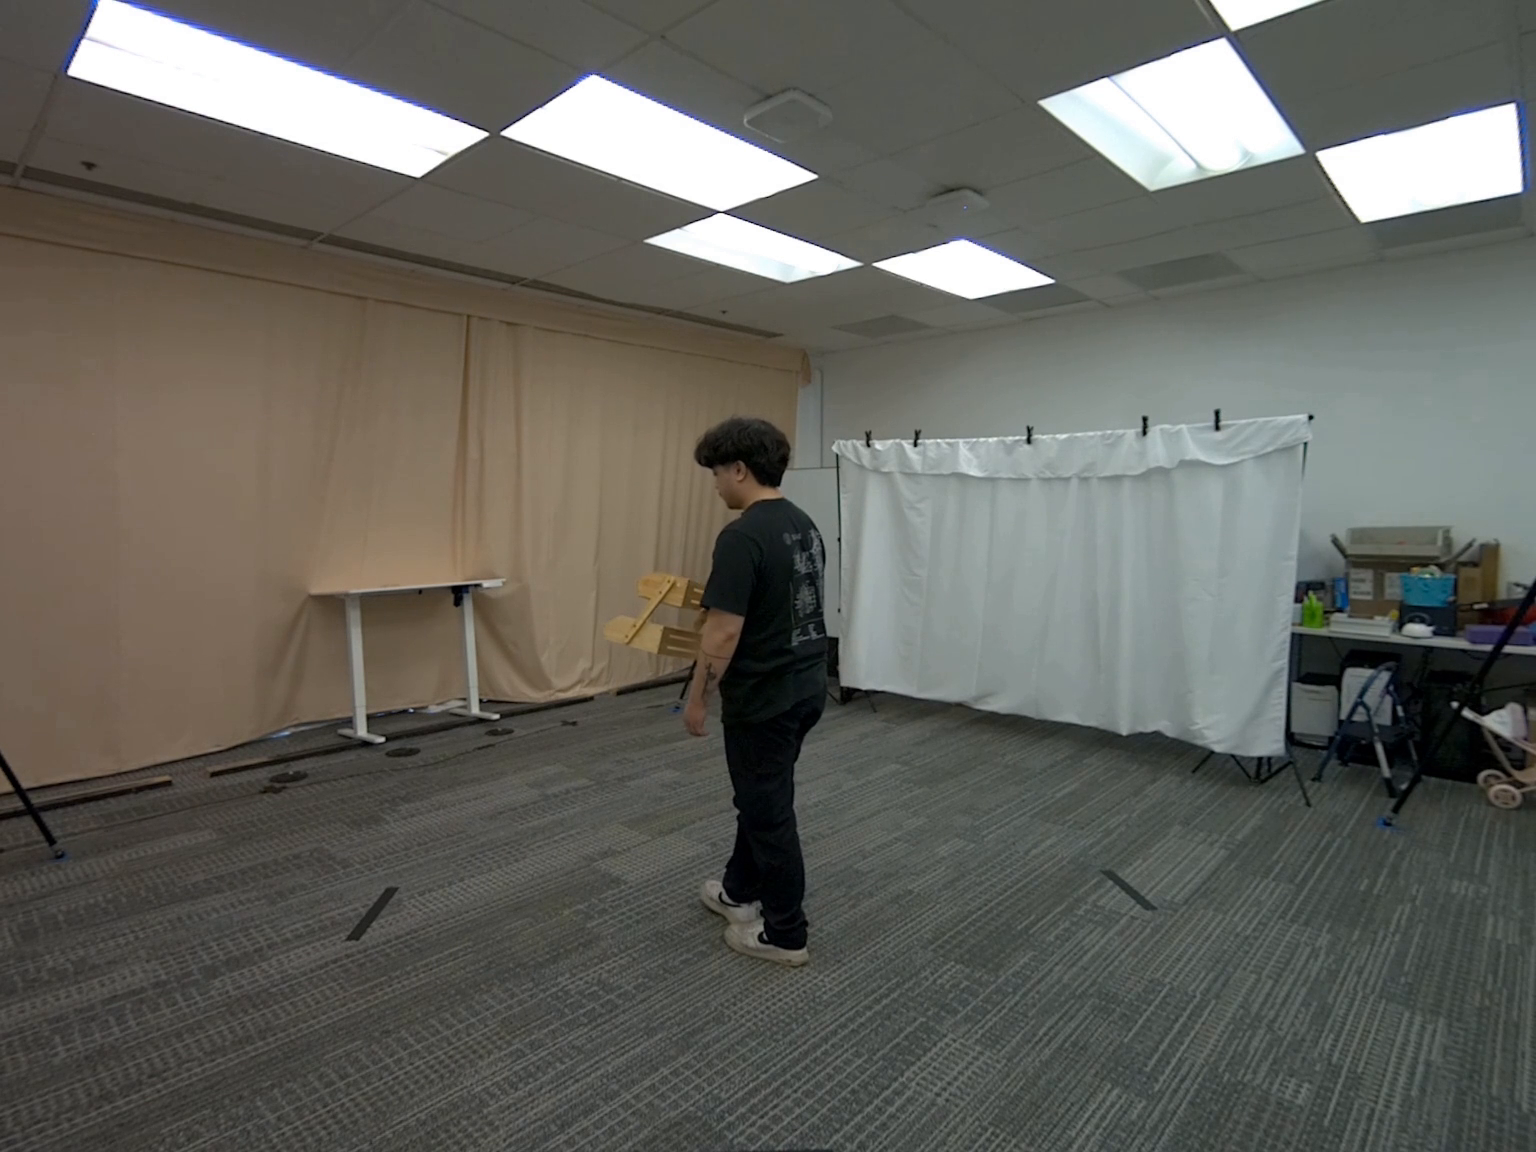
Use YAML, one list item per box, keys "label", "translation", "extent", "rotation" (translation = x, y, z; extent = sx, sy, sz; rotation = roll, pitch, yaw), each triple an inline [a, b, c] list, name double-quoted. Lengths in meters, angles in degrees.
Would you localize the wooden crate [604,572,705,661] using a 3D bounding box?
- label: "wooden crate"
  translation: [-0.343, 0.131, 2.924]
  extent: [0.312, 0.273, 0.314]
  rotation: [12, -4, 32]
